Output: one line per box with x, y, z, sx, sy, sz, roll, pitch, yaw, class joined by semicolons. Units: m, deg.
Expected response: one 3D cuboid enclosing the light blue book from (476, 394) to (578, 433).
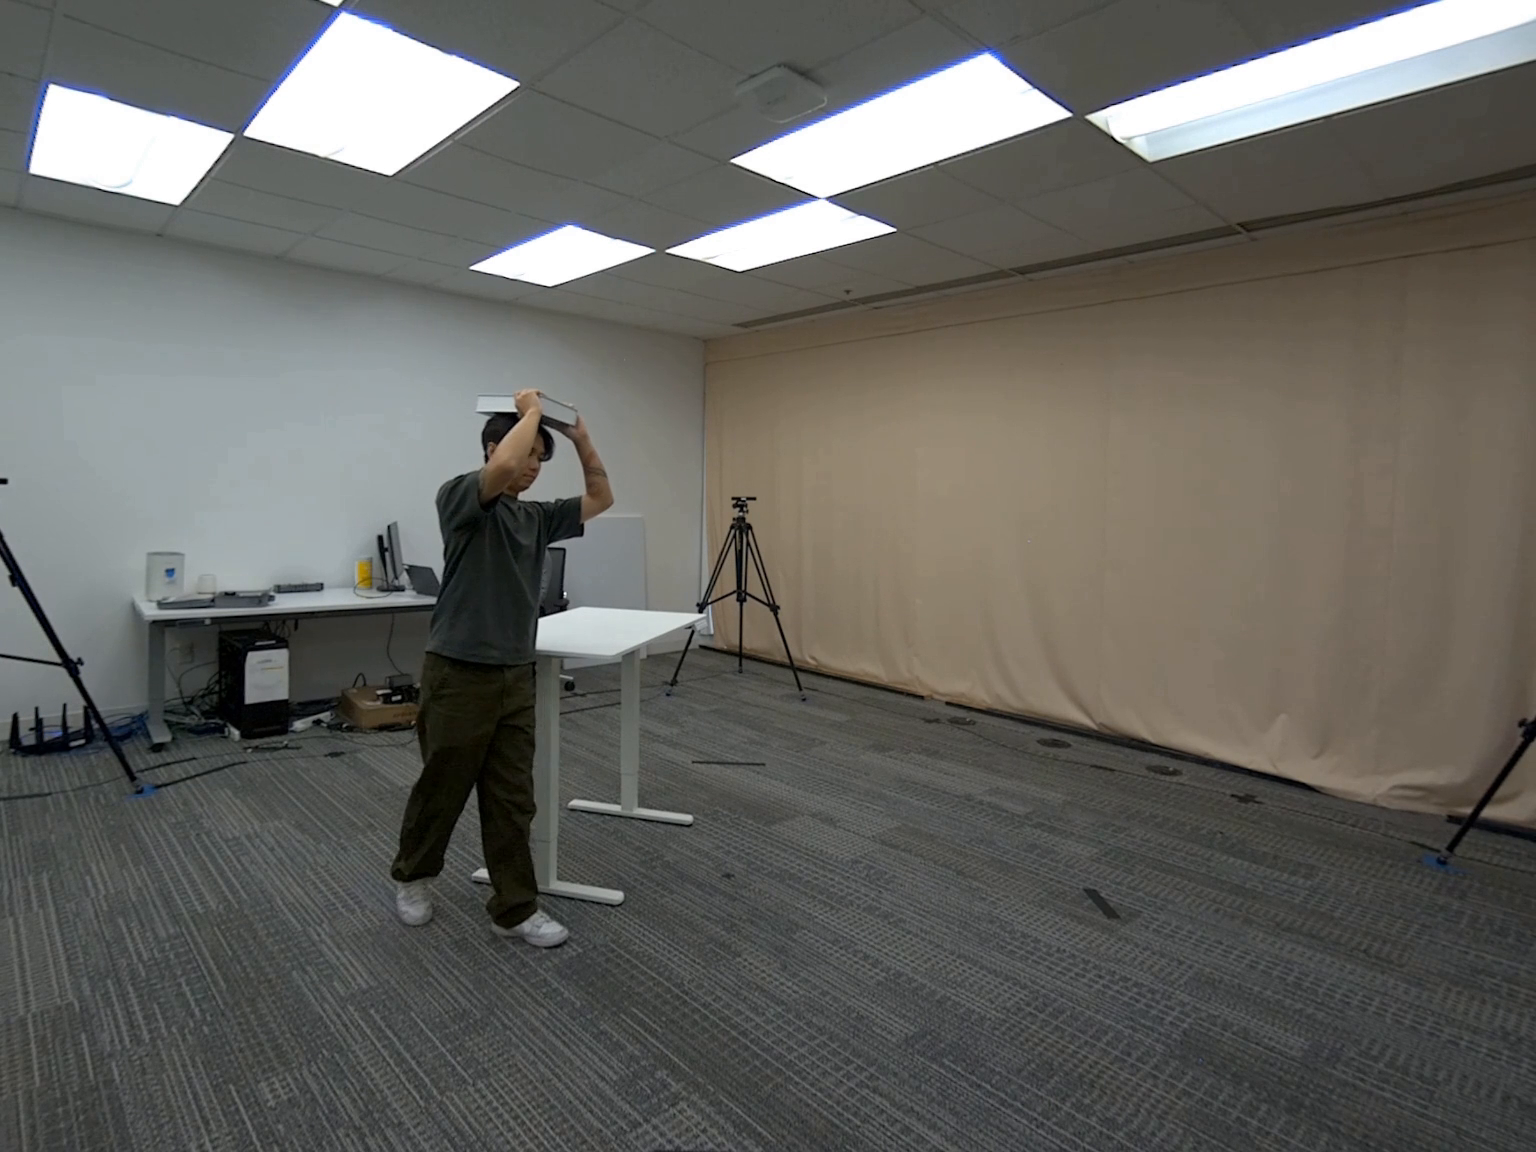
-0.791;-0.529;2.690;0.266;0.059;0.187;8;-1;24;light blue book
